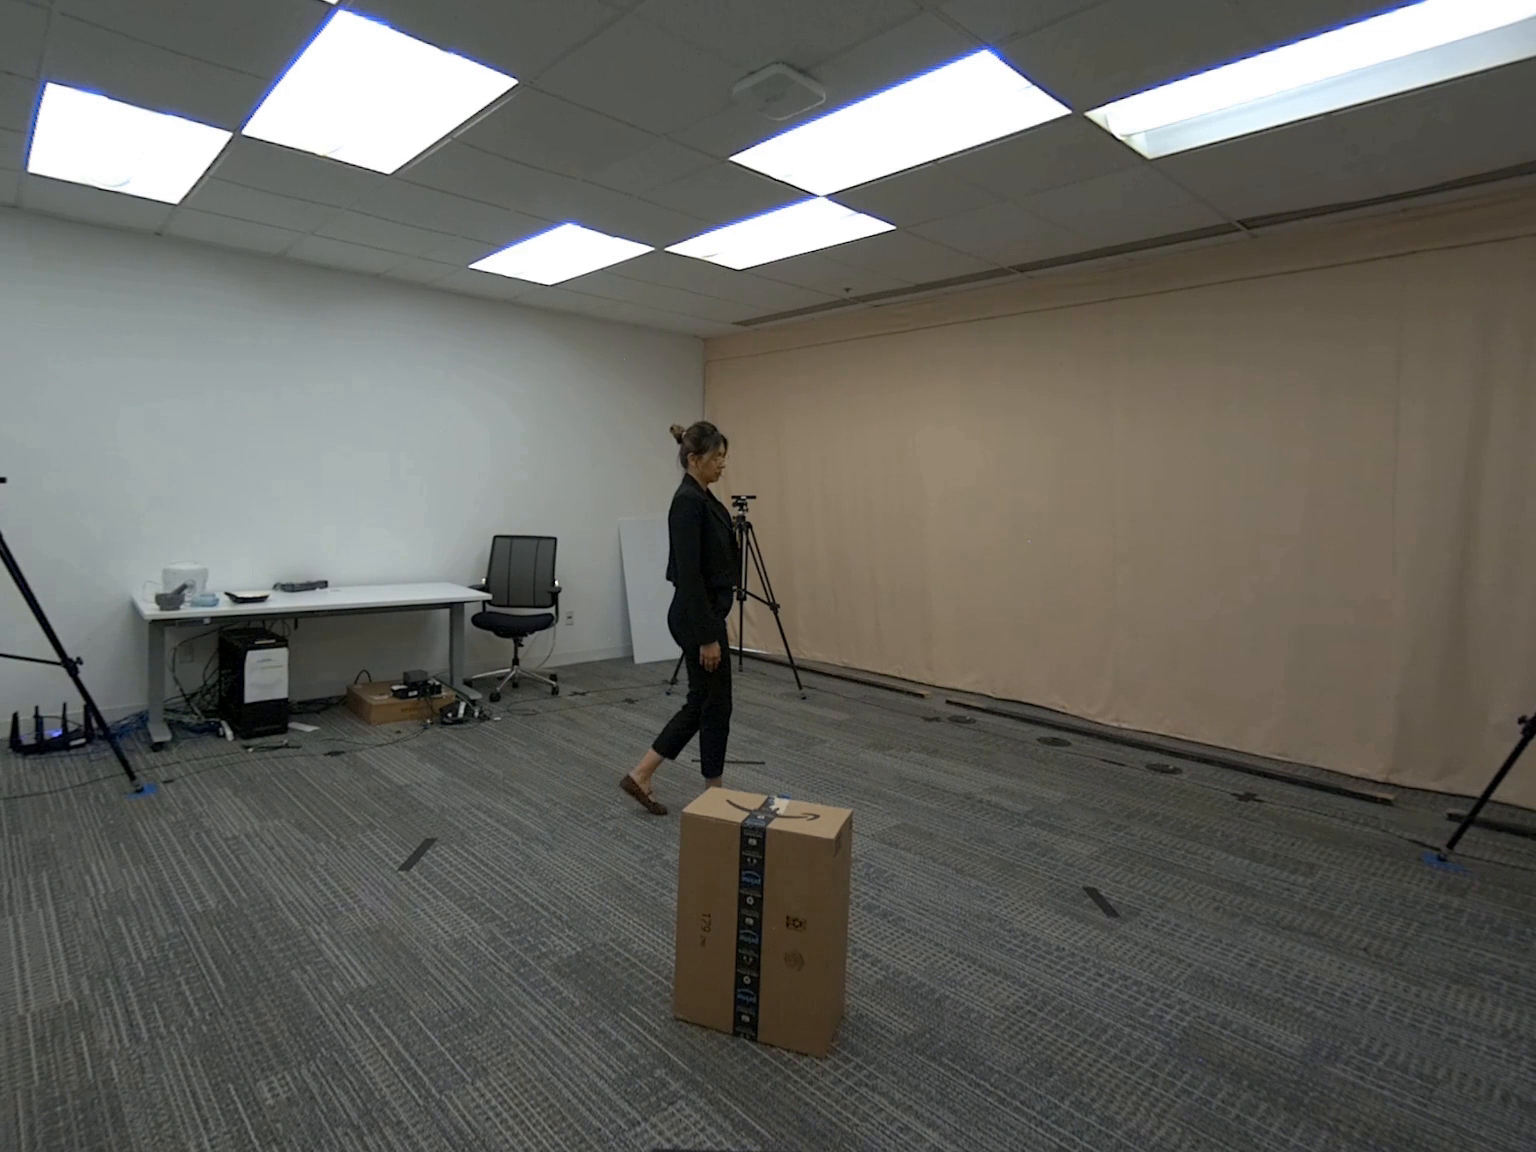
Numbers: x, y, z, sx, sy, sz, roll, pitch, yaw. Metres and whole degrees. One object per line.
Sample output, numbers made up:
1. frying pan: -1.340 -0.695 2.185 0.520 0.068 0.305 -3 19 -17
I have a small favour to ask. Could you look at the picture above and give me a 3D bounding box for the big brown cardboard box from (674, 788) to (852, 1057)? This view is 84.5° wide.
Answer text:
1. big brown cardboard box: -0.012 0.908 2.241 0.424 0.587 0.230 4 5 20
